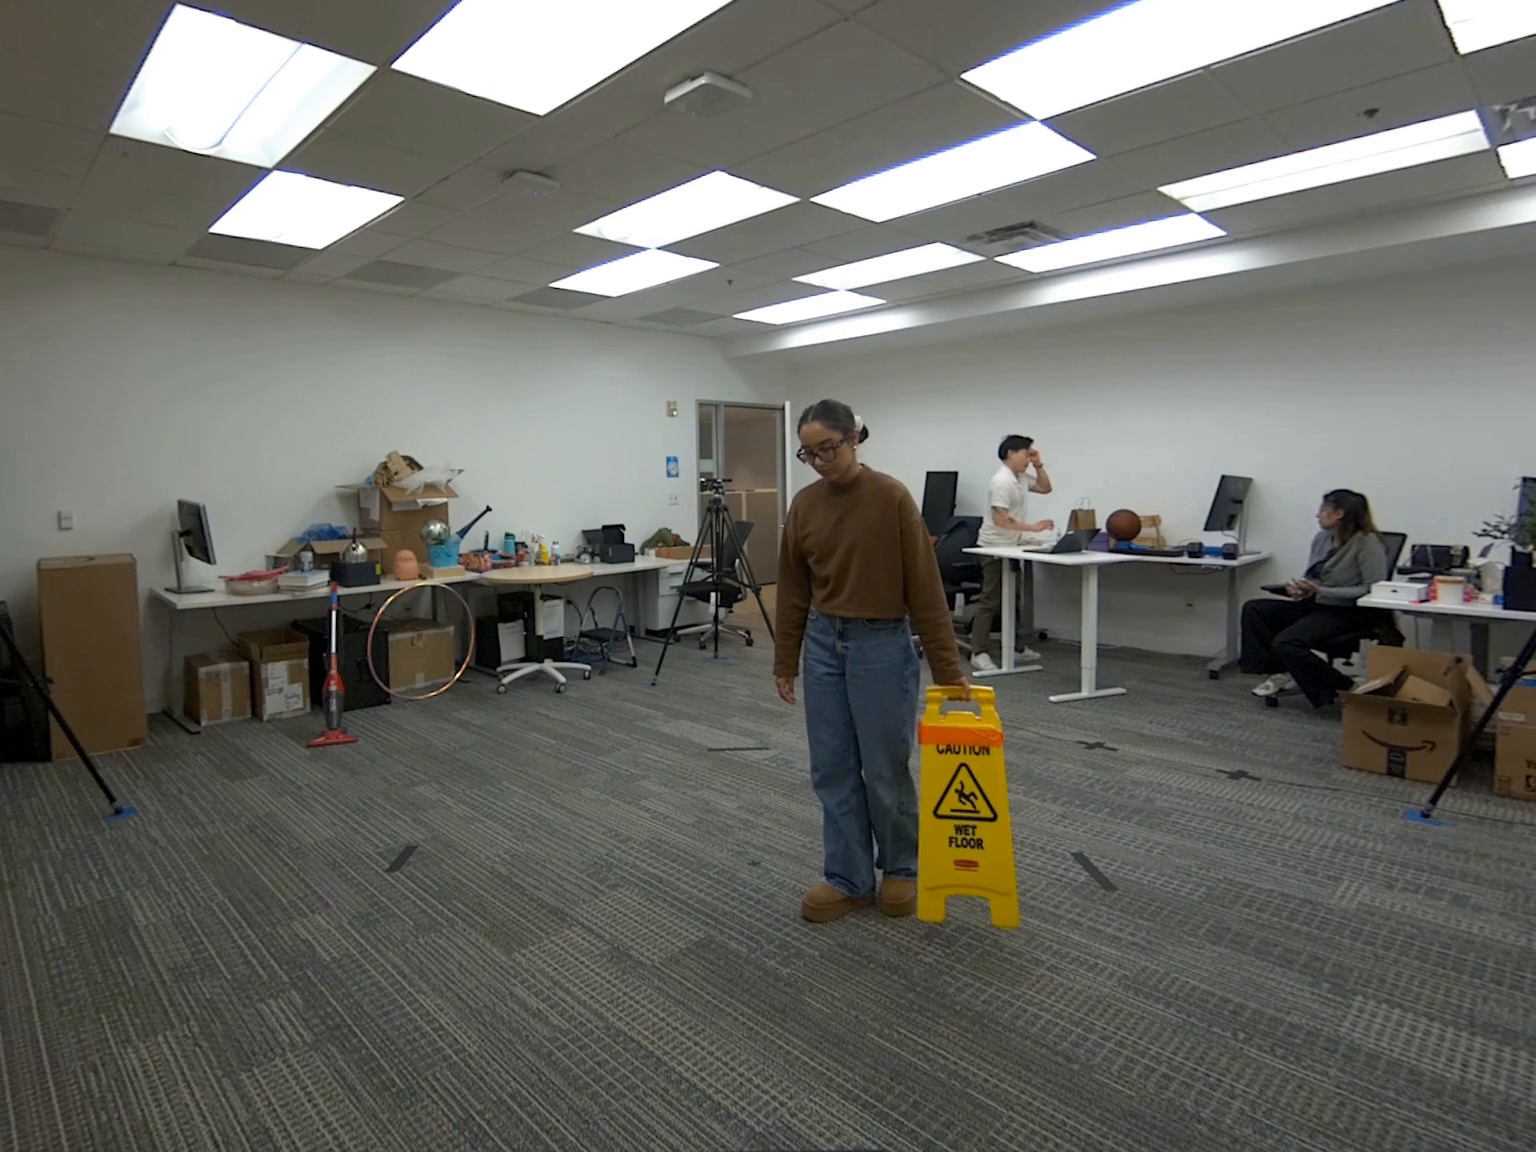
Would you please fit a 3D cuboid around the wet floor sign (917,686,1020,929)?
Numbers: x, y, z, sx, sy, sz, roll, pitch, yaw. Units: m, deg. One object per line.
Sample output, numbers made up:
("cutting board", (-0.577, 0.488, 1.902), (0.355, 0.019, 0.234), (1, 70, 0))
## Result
("wet floor sign", (0.600, 0.655, 2.532), (0.286, 0.646, 0.286), (-2, 1, 12))
